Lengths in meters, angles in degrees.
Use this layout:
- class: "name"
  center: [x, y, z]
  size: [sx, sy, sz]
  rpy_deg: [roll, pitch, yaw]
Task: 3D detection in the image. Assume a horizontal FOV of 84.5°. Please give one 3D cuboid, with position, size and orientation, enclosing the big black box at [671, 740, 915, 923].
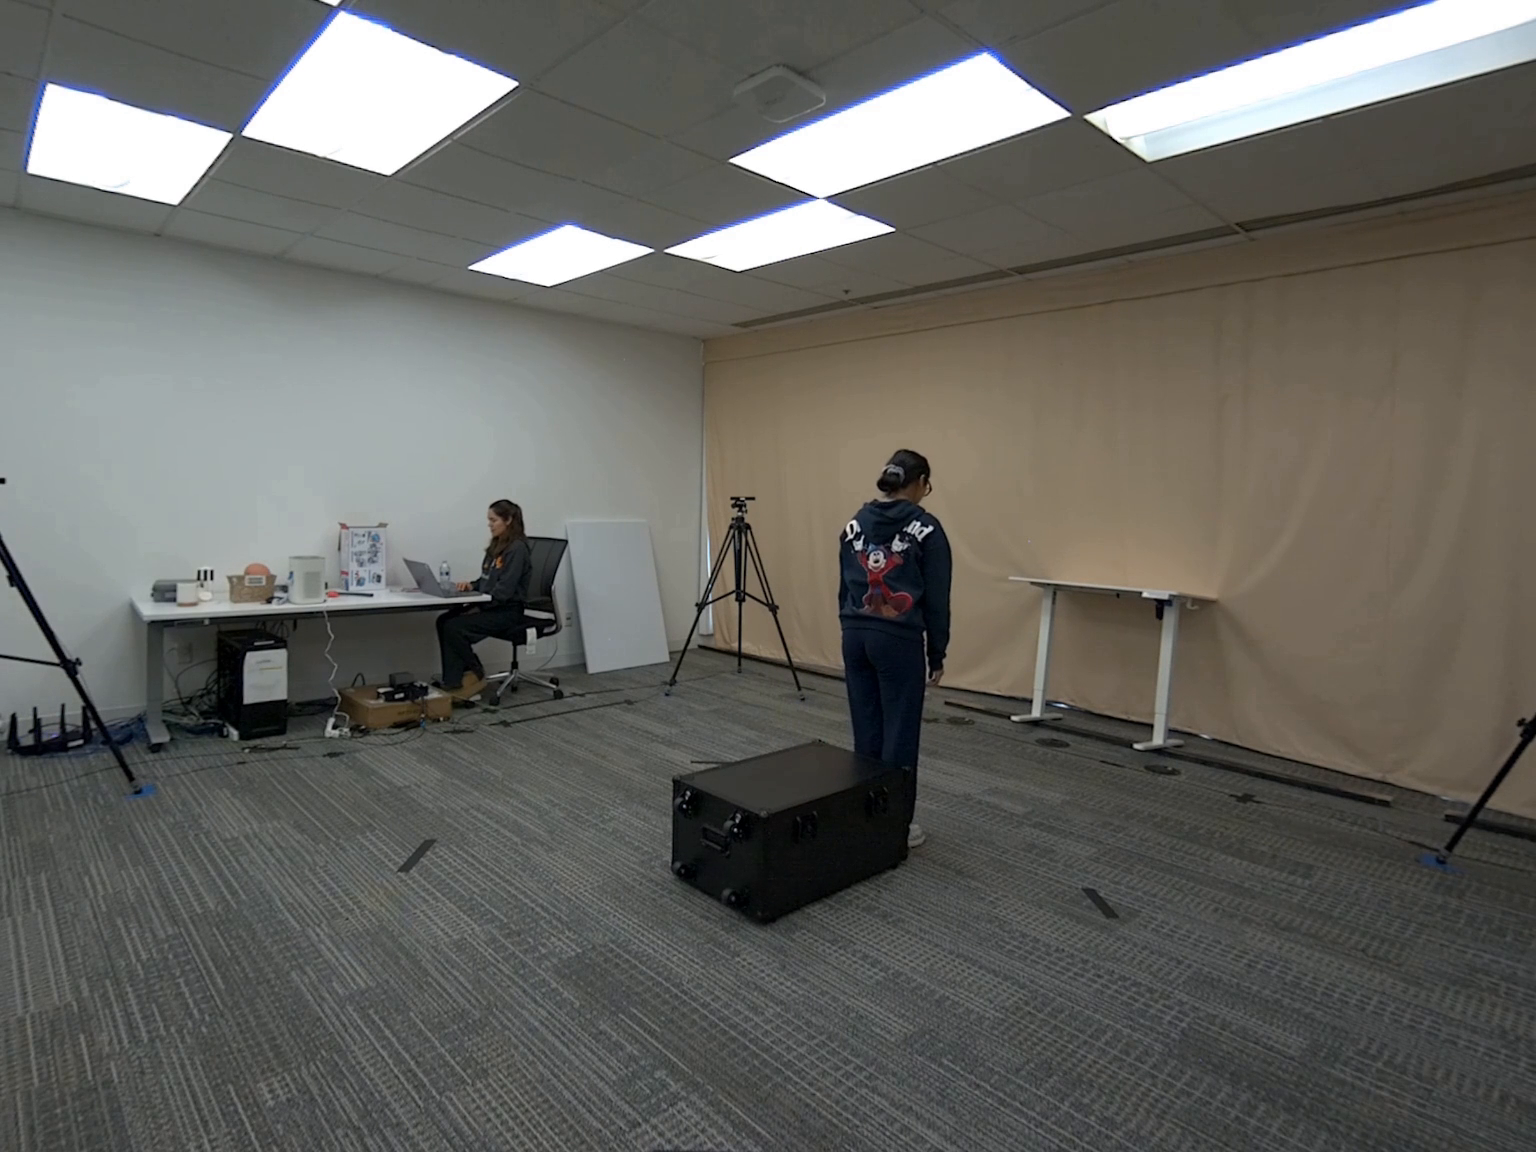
- class: "big black box"
  center: [0.064, 0.919, 3.125]
  size: [0.841, 0.395, 0.534]
  rpy_deg: [-2, 5, -44]
